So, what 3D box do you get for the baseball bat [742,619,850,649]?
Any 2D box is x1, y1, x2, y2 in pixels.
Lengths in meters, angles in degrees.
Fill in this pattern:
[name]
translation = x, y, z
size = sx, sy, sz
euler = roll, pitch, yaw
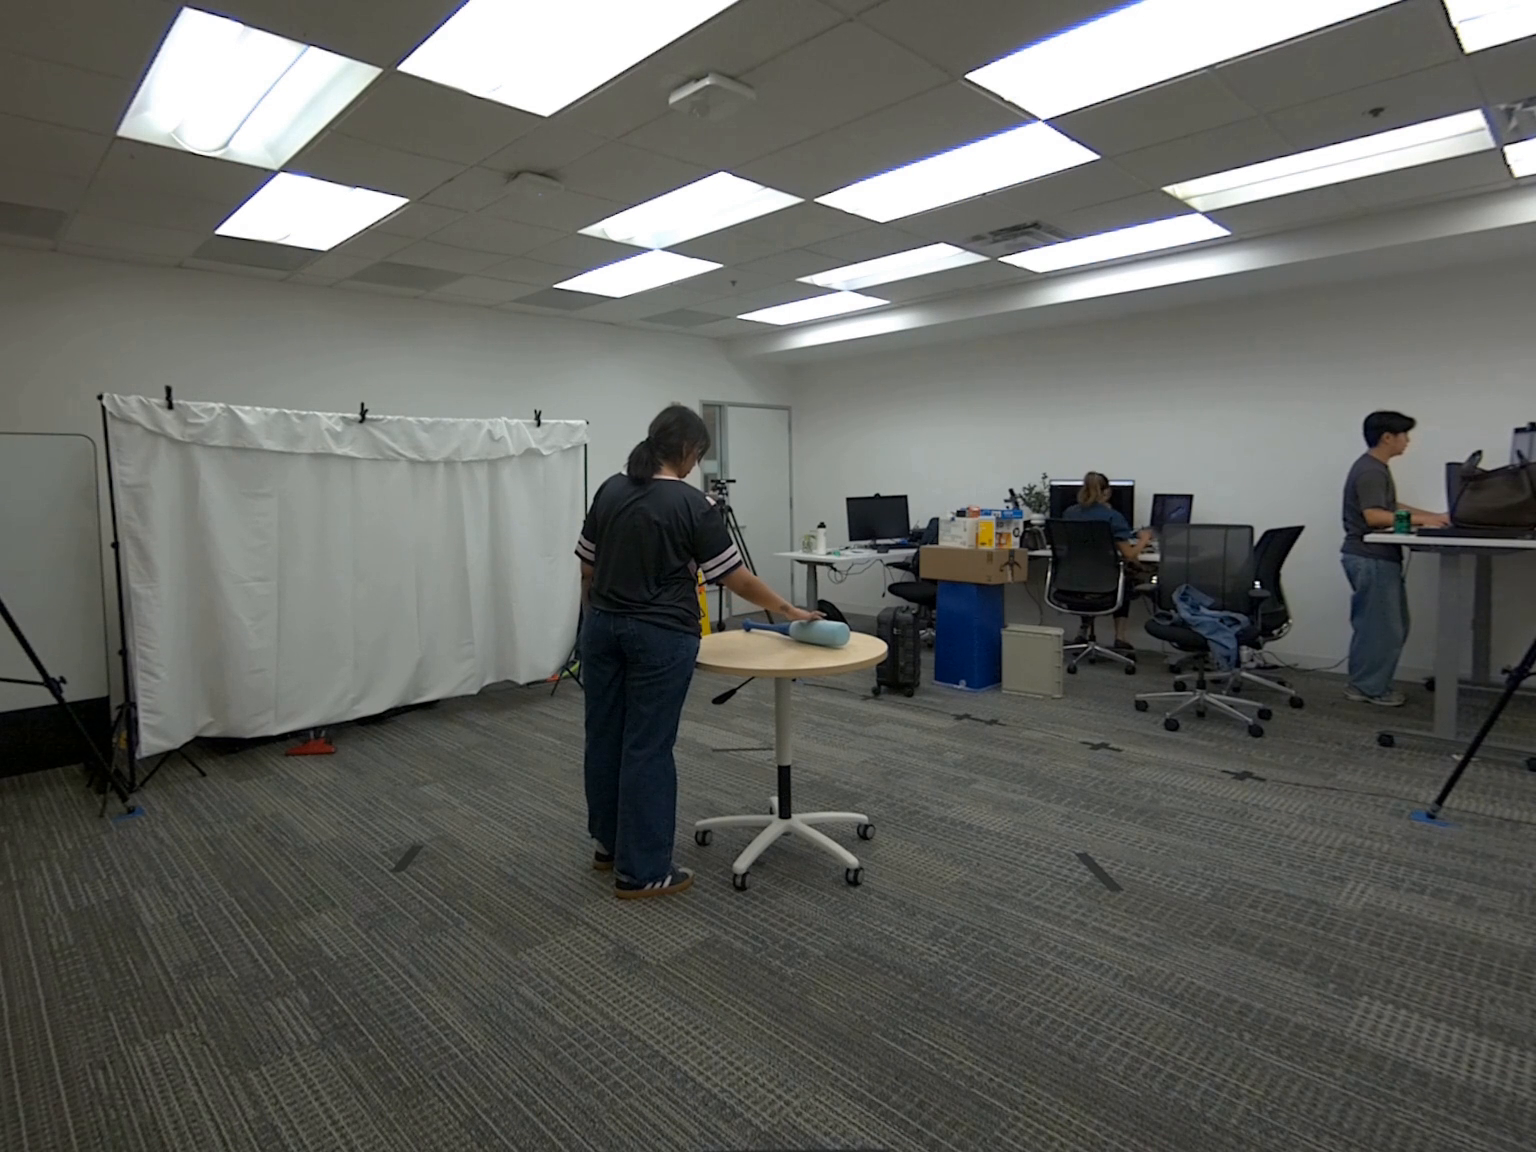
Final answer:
[baseball bat]
translation = 0.097, 0.208, 3.255
size = 0.087, 0.089, 0.558
euler = -5, 4, -39
